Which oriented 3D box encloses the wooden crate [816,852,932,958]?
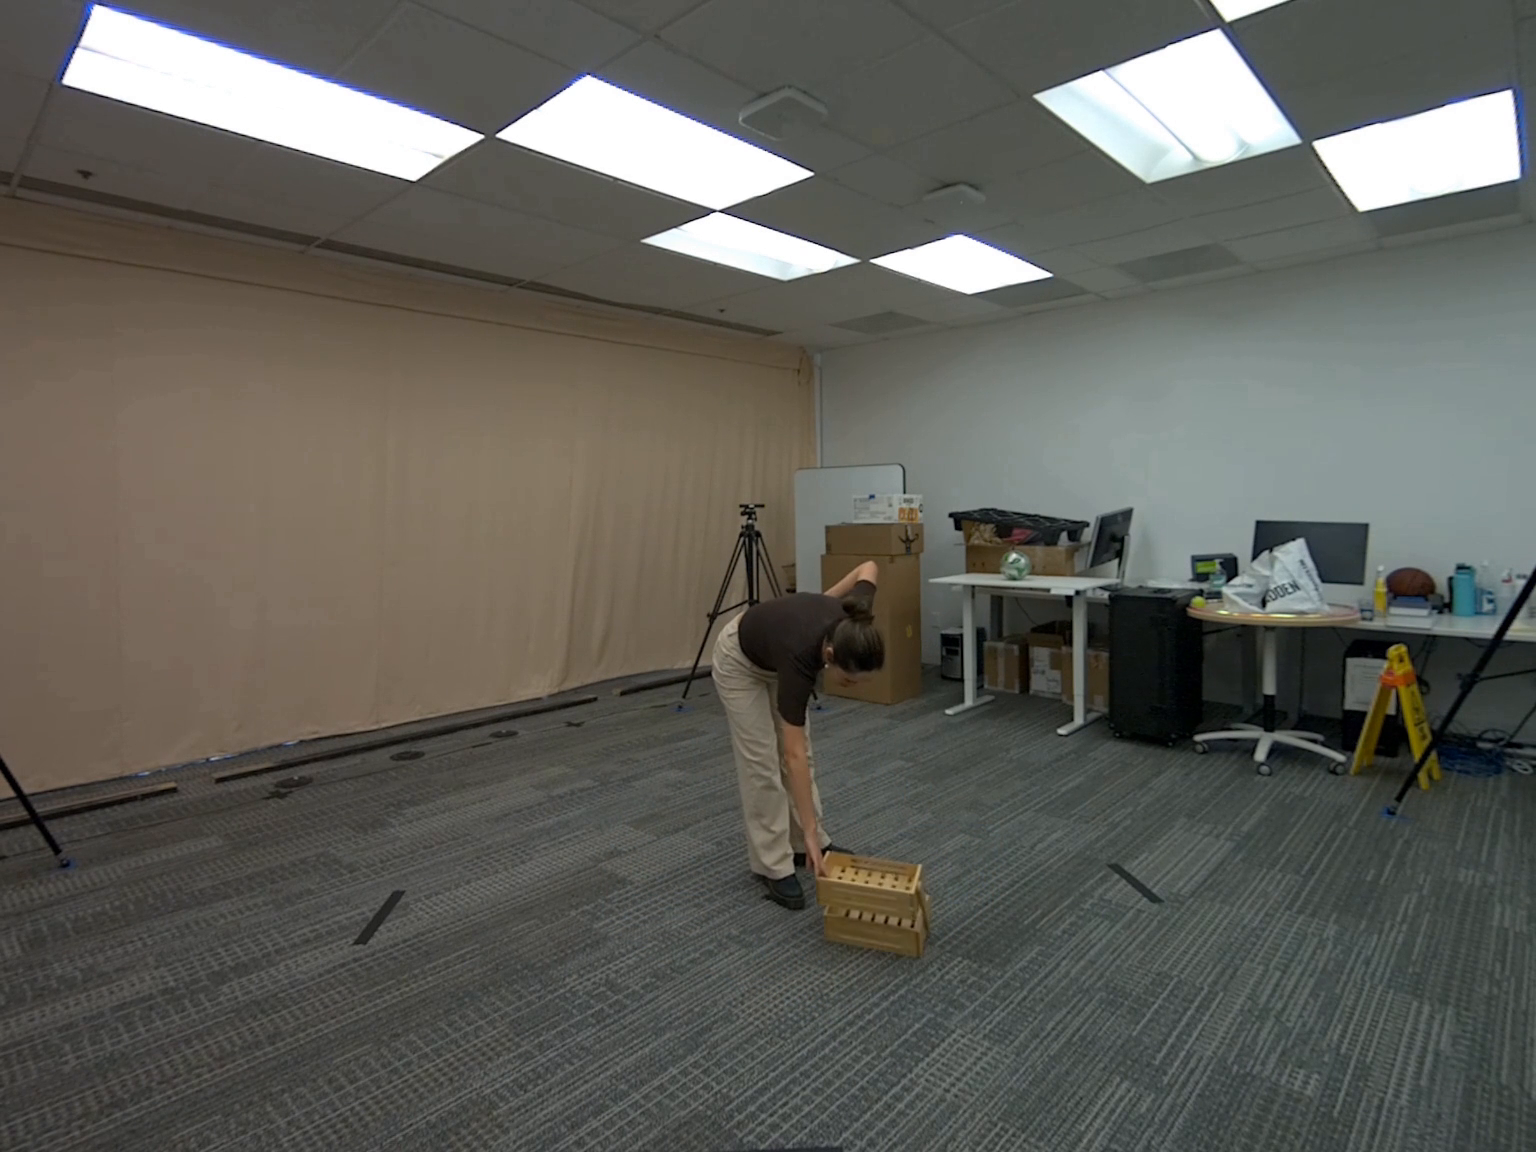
[{"bbox_3d":[0.353,1.012,2.684,0.332,0.271,0.298,-1,15,21],"label":"wooden crate"}]
